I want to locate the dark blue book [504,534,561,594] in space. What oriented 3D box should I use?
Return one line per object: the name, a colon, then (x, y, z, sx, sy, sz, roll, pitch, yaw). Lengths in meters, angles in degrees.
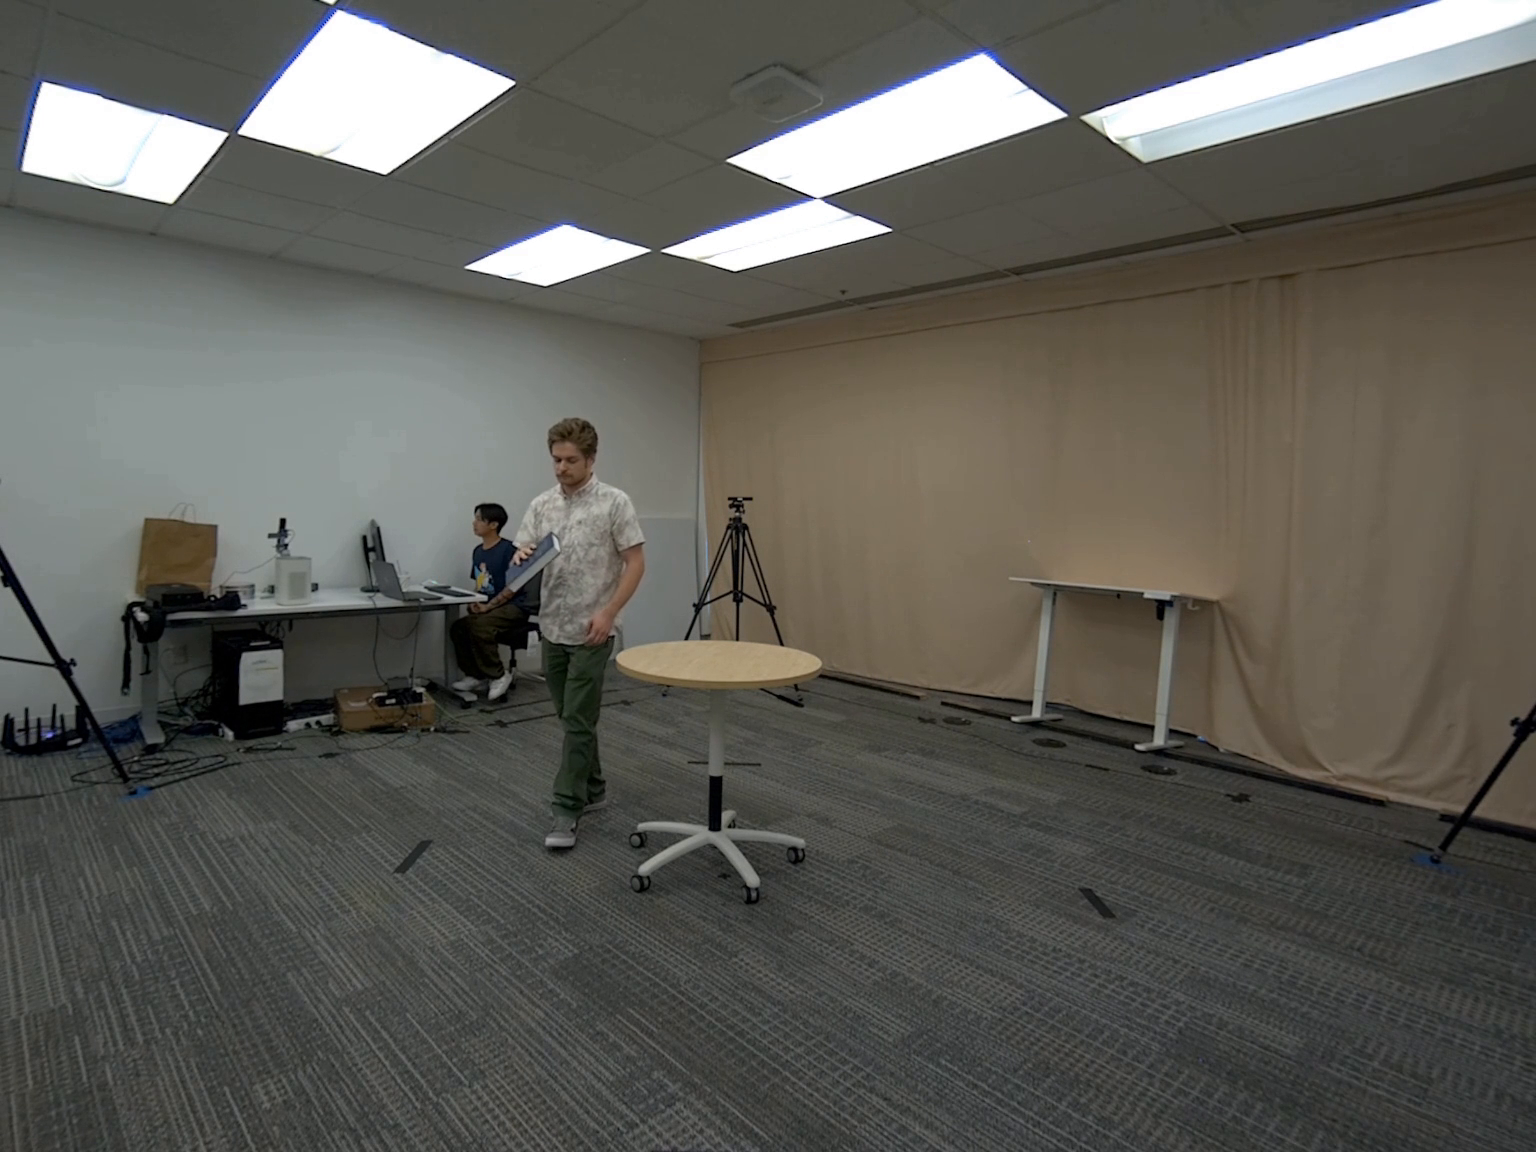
dark blue book: (-0.929, -0.054, 3.270, 0.044, 0.245, 0.167, 48, 2, -26)
